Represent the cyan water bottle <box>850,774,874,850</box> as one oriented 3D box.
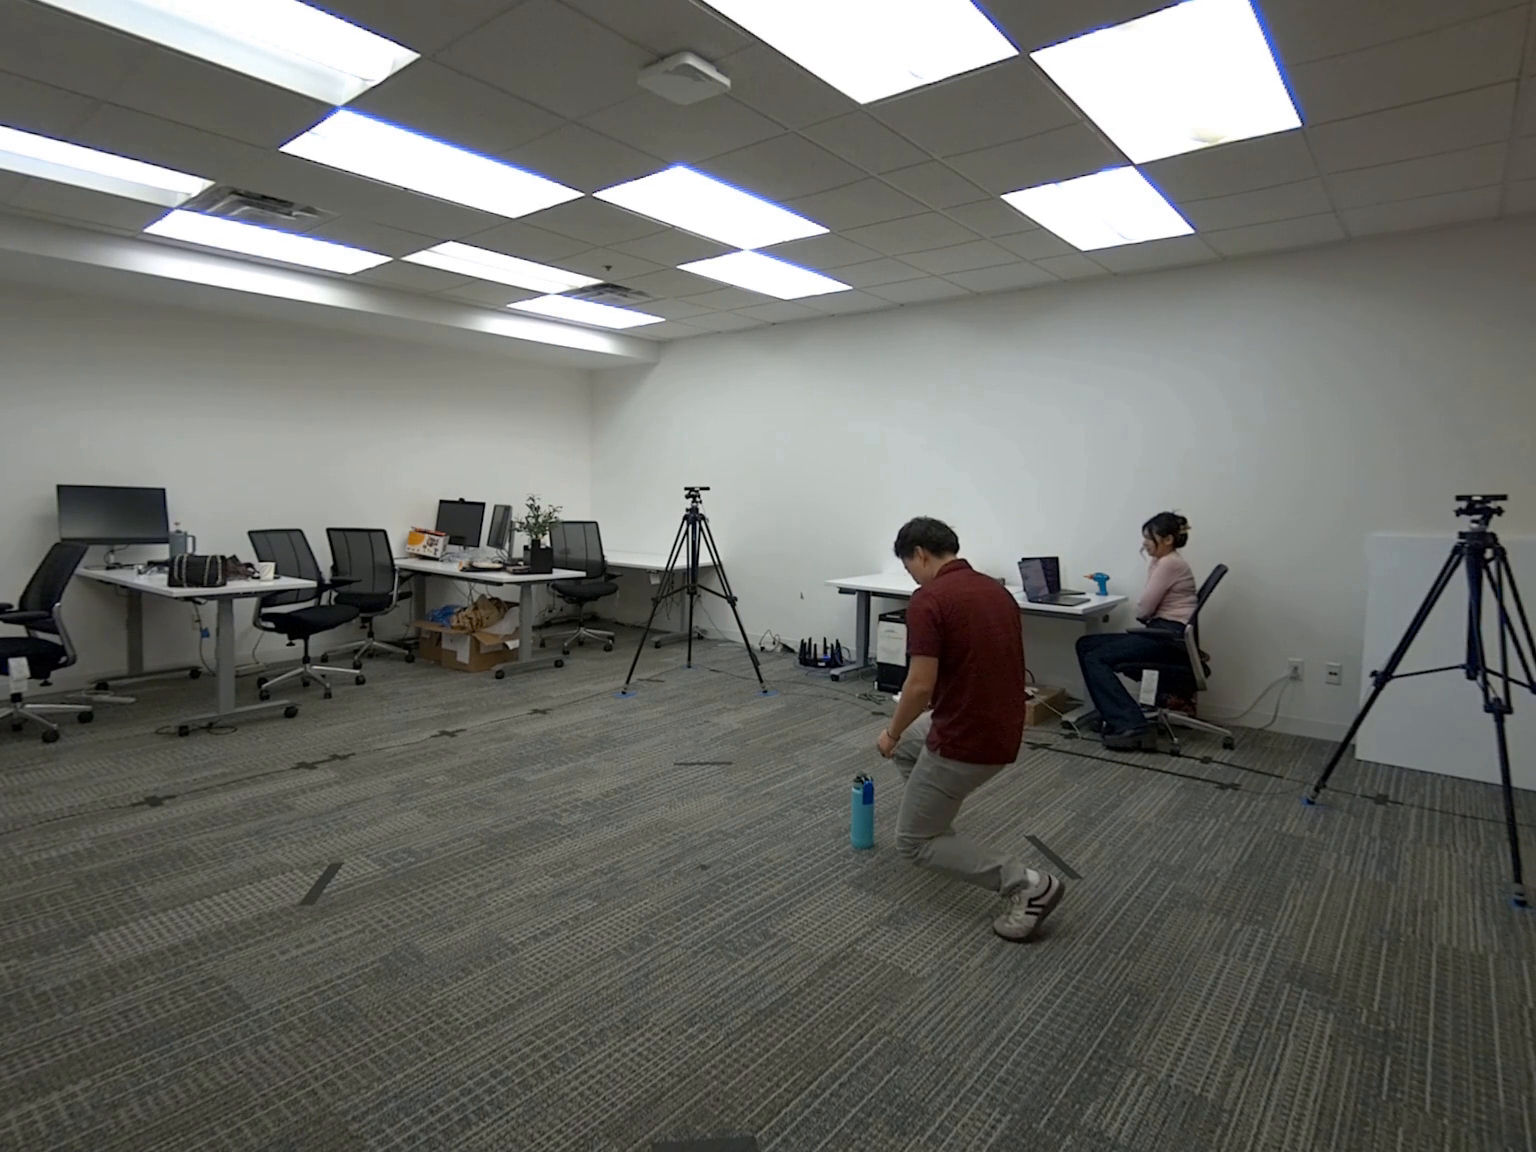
[{"bbox_3d":[0.369,0.915,3.346,0.092,0.282,0.093,0,4,-2],"label":"cyan water bottle"}]
